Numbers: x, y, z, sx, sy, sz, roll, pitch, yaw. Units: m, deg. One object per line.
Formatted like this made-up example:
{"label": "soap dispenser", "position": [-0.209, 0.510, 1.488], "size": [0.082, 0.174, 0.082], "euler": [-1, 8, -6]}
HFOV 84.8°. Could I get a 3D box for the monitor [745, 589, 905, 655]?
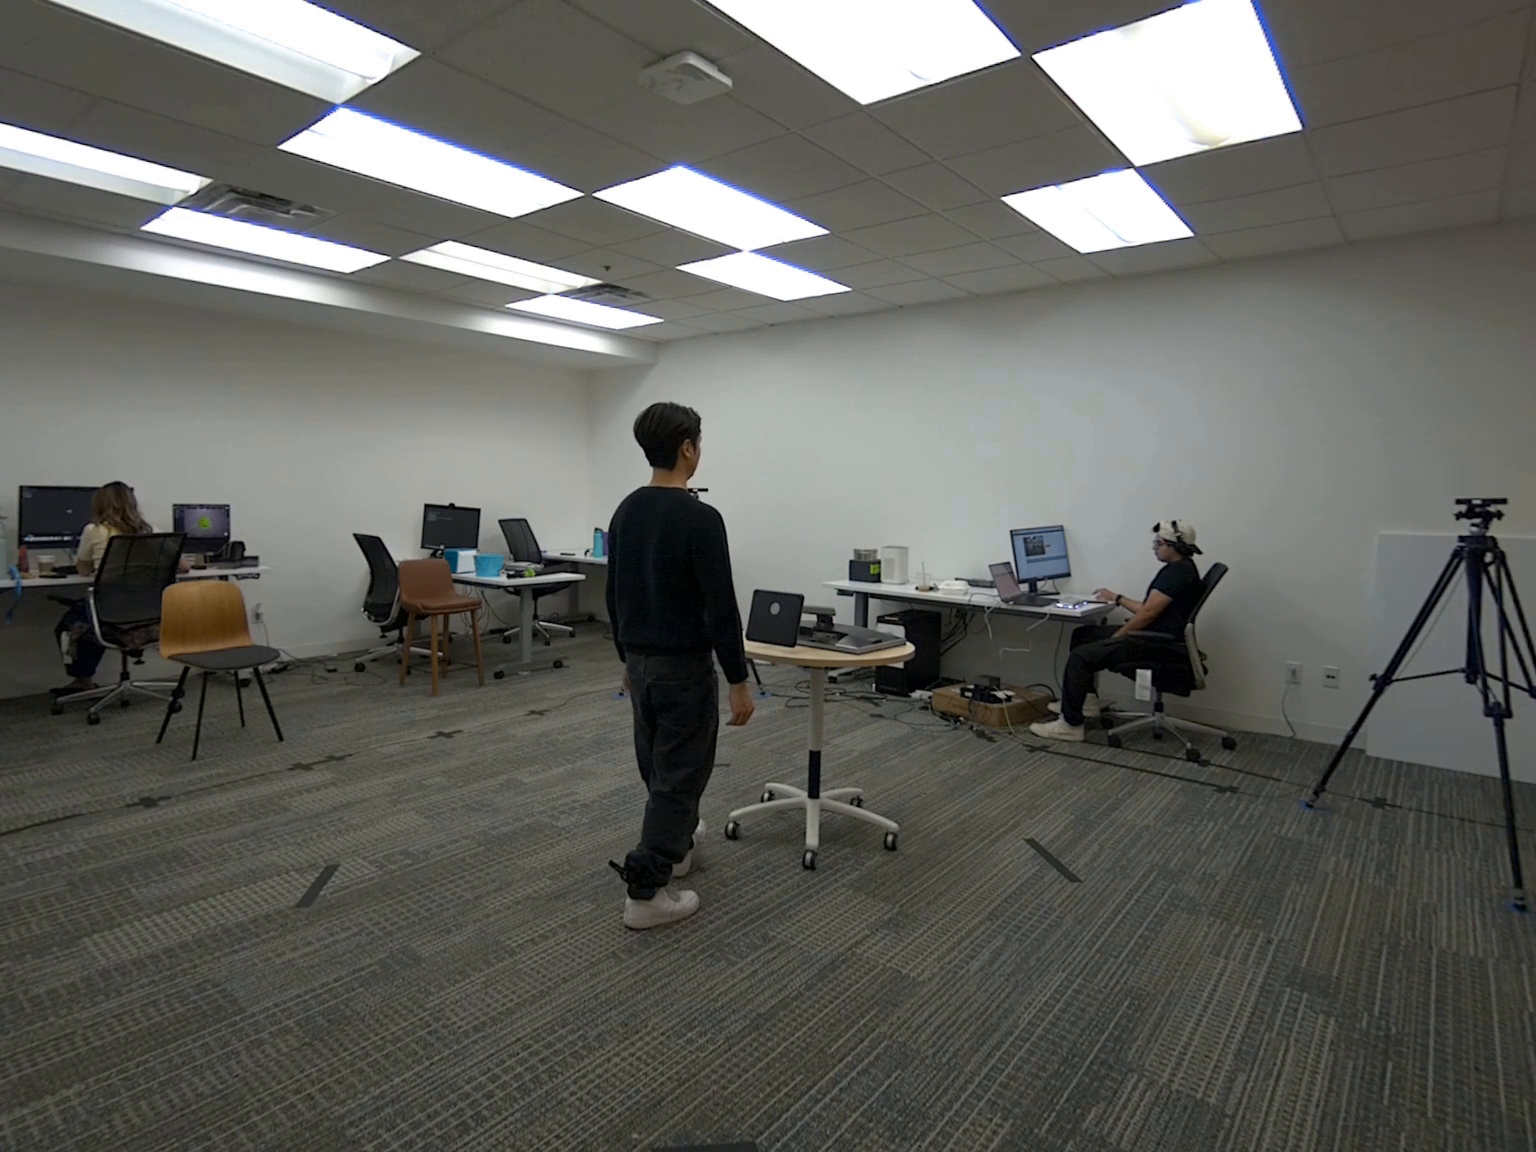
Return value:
{"label": "monitor", "position": [0.184, 0.195, 3.448], "size": [0.558, 0.188, 0.502], "euler": [8, -6, 41]}
